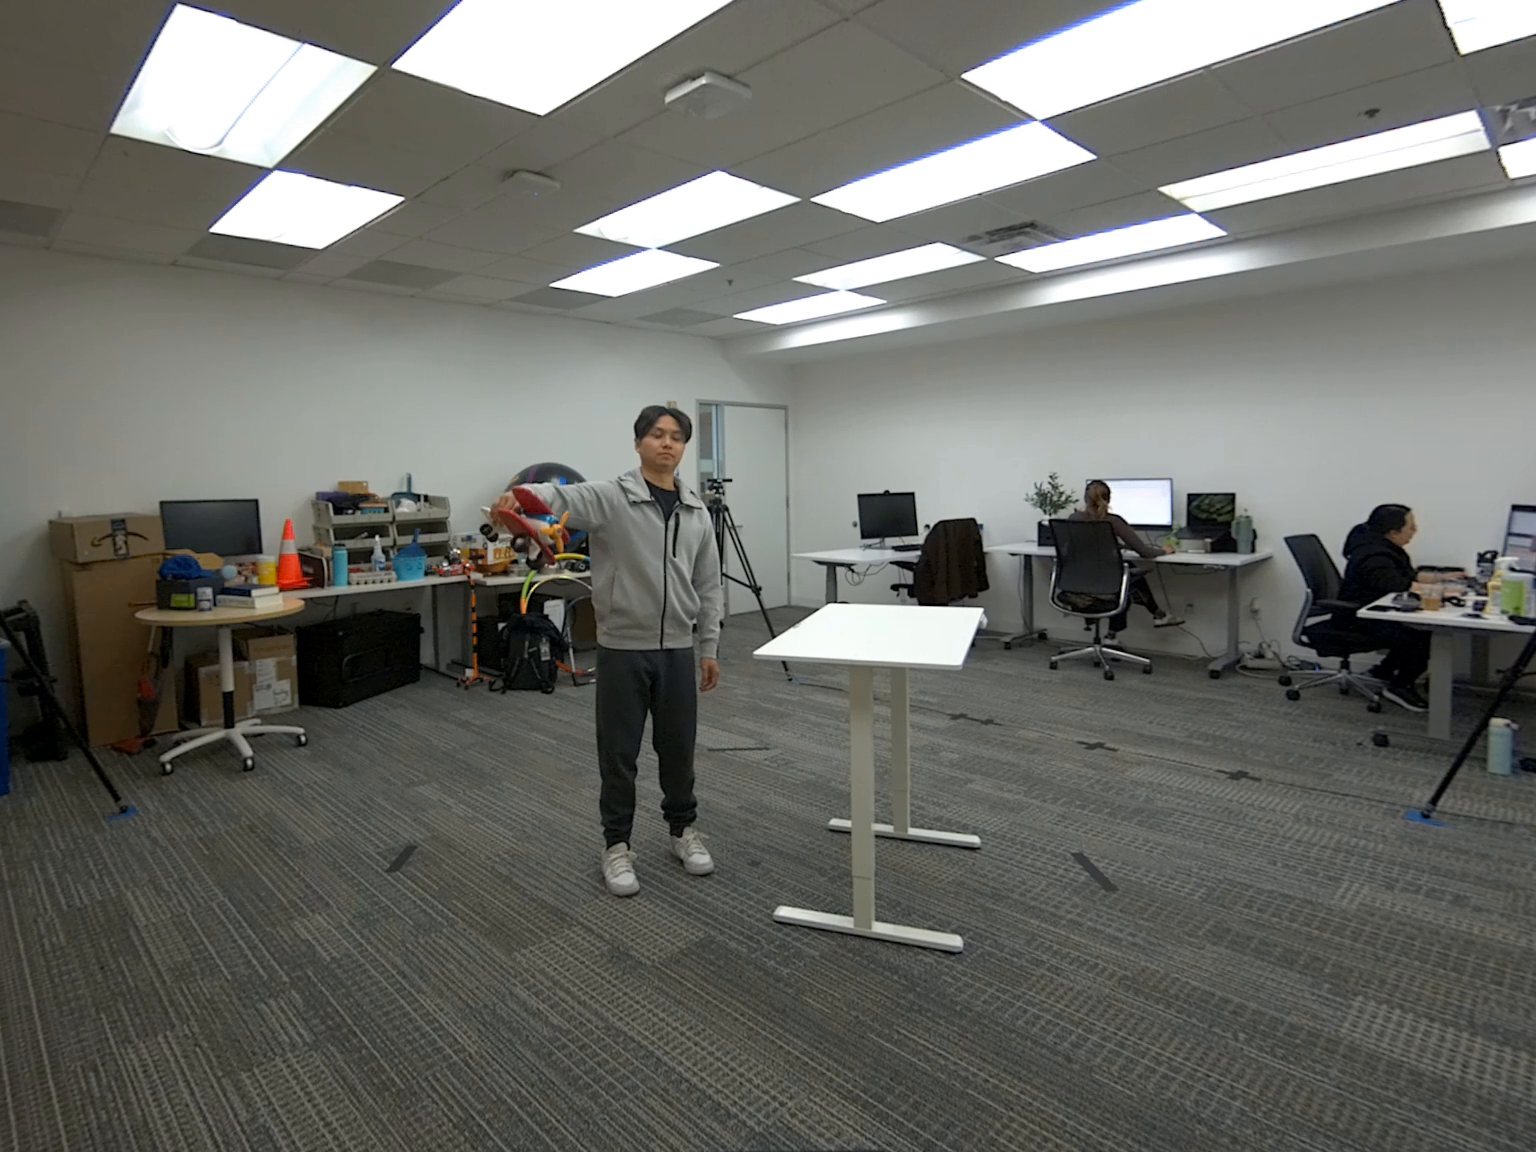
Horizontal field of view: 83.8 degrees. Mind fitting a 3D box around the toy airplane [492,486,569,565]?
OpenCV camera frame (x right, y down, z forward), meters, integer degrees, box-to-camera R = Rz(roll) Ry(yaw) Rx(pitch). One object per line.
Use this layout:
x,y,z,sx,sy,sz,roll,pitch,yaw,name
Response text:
-0.709,-0.142,2.392,0.262,0.157,0.248,36,-19,7,toy airplane
